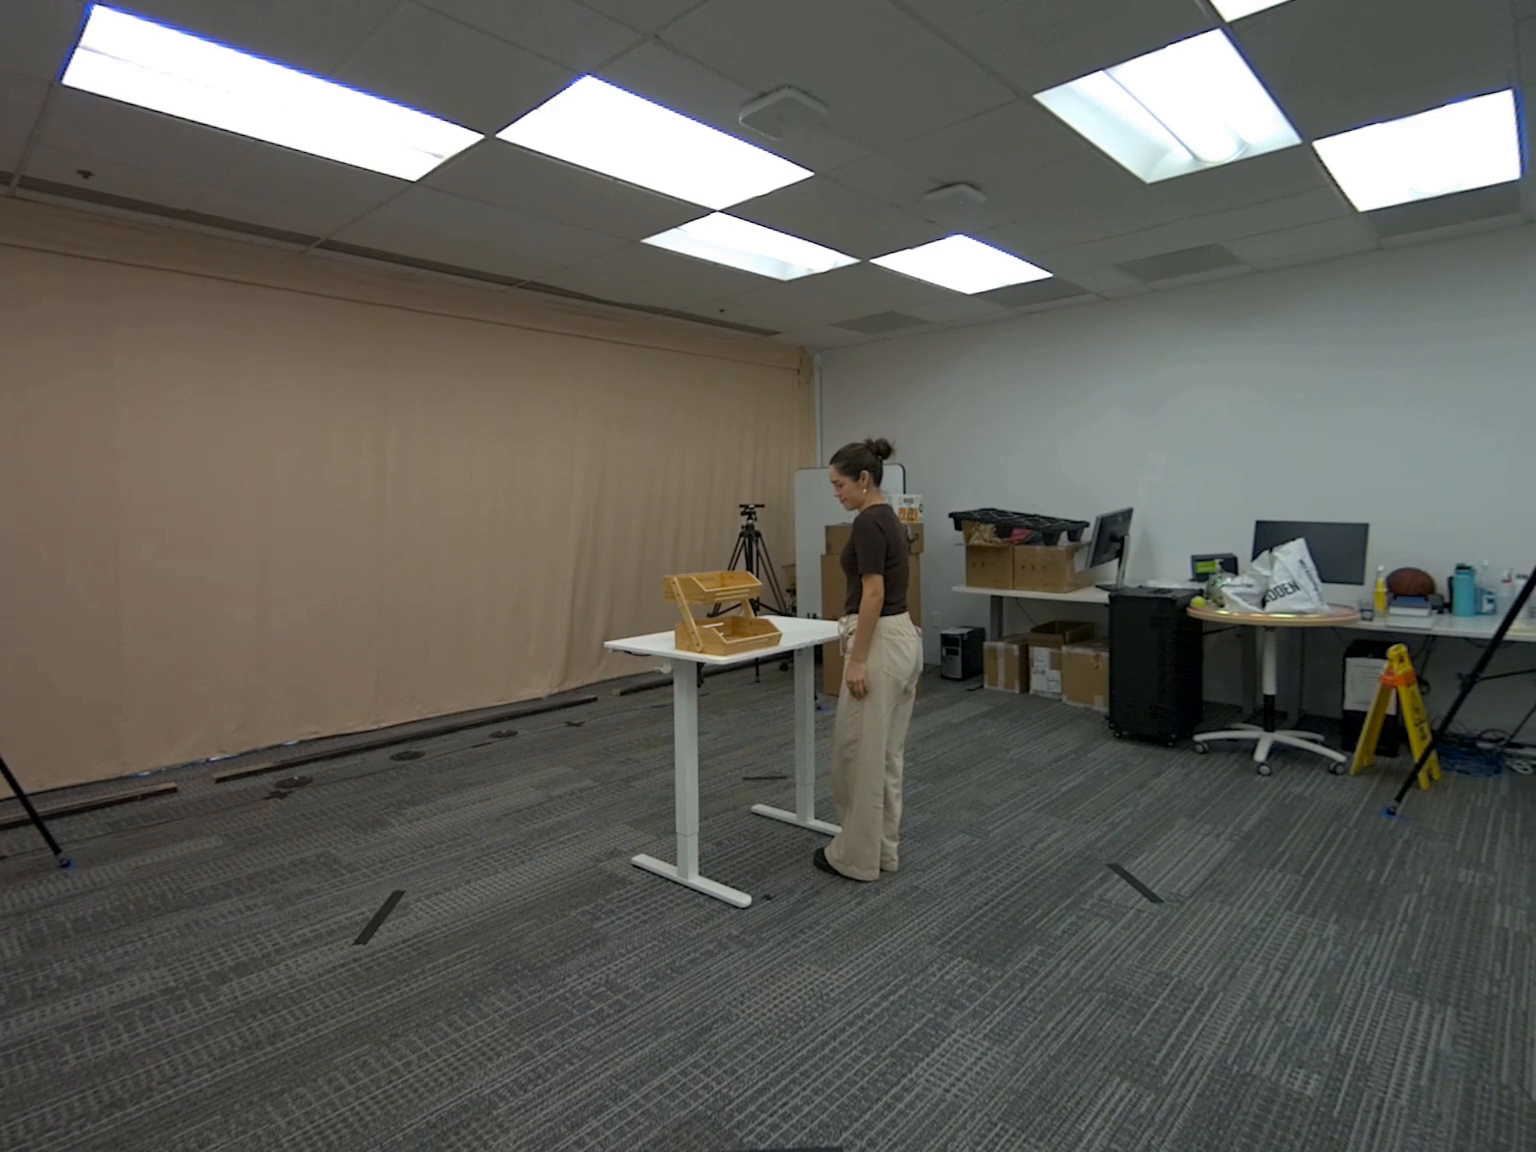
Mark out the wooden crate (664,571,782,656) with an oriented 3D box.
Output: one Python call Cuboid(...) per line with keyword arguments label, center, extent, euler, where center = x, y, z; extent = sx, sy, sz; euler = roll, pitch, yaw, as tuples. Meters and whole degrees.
Cuboid(label="wooden crate", center=(-0.154, 0.124, 3.030), extent=(0.312, 0.273, 0.314), euler=(1, 4, 42))
